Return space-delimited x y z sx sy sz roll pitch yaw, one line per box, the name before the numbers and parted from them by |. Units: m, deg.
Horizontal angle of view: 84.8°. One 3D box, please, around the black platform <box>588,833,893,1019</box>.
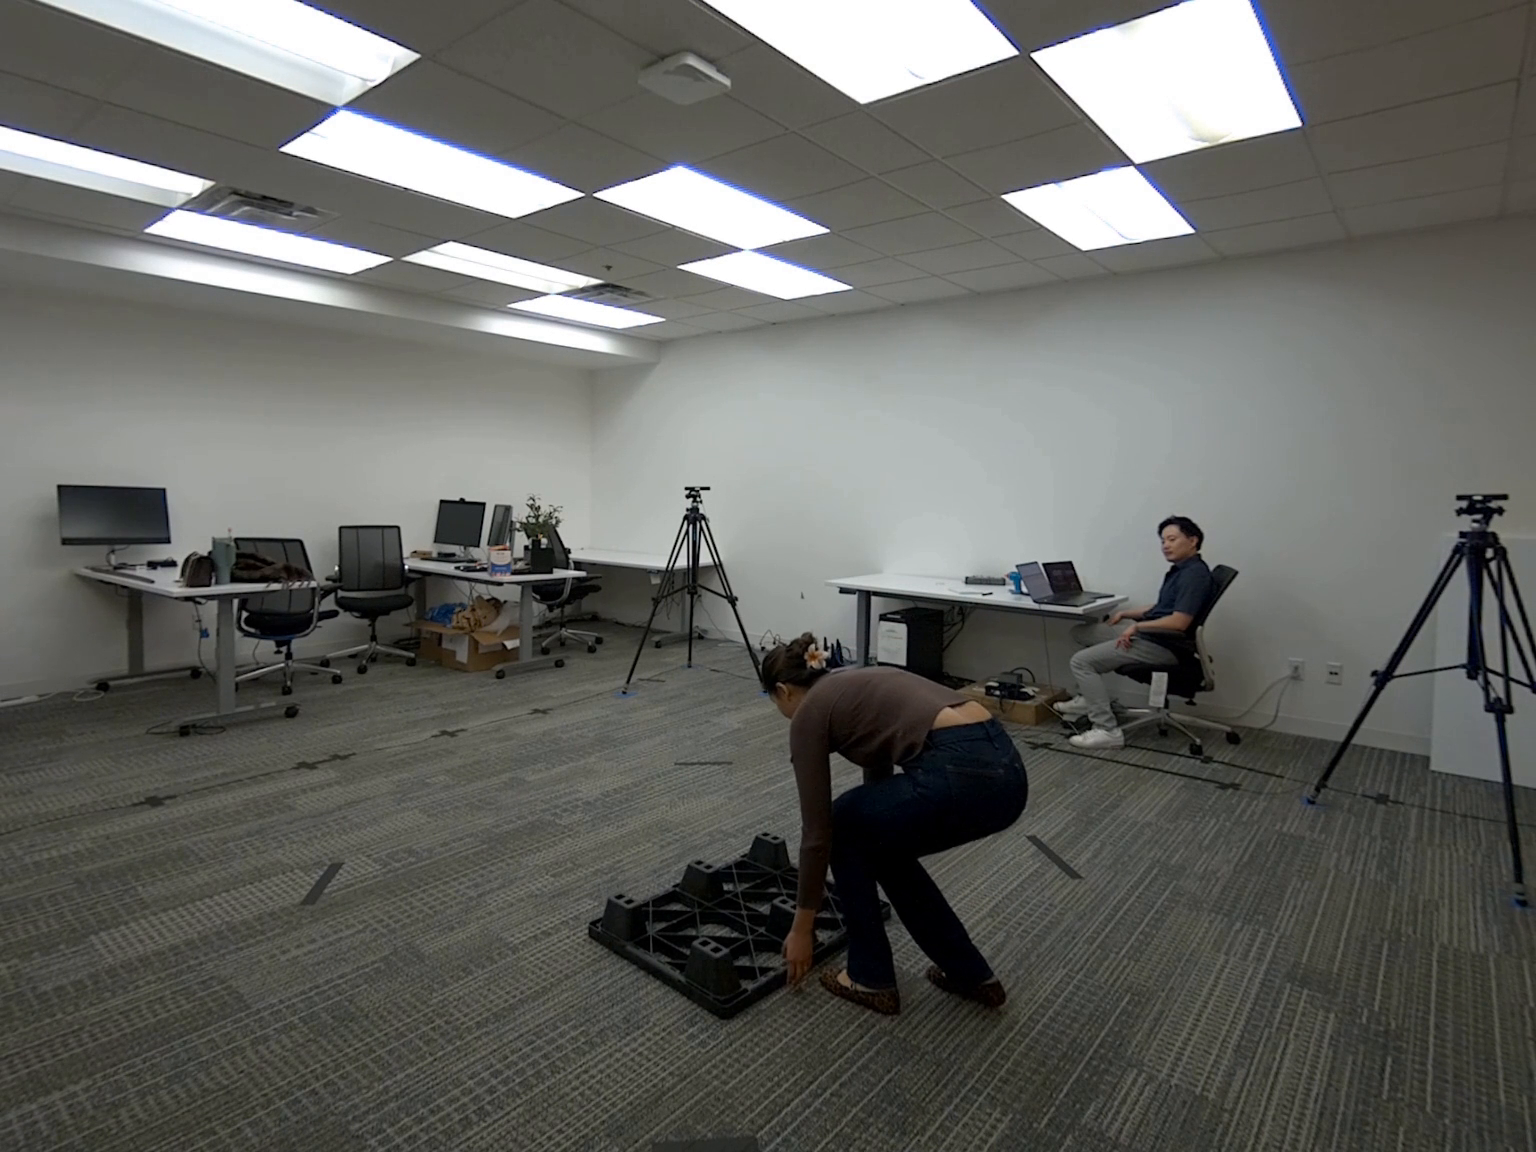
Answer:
black platform | -0.086 1.044 2.708 0.626 0.143 0.781 7 8 42
